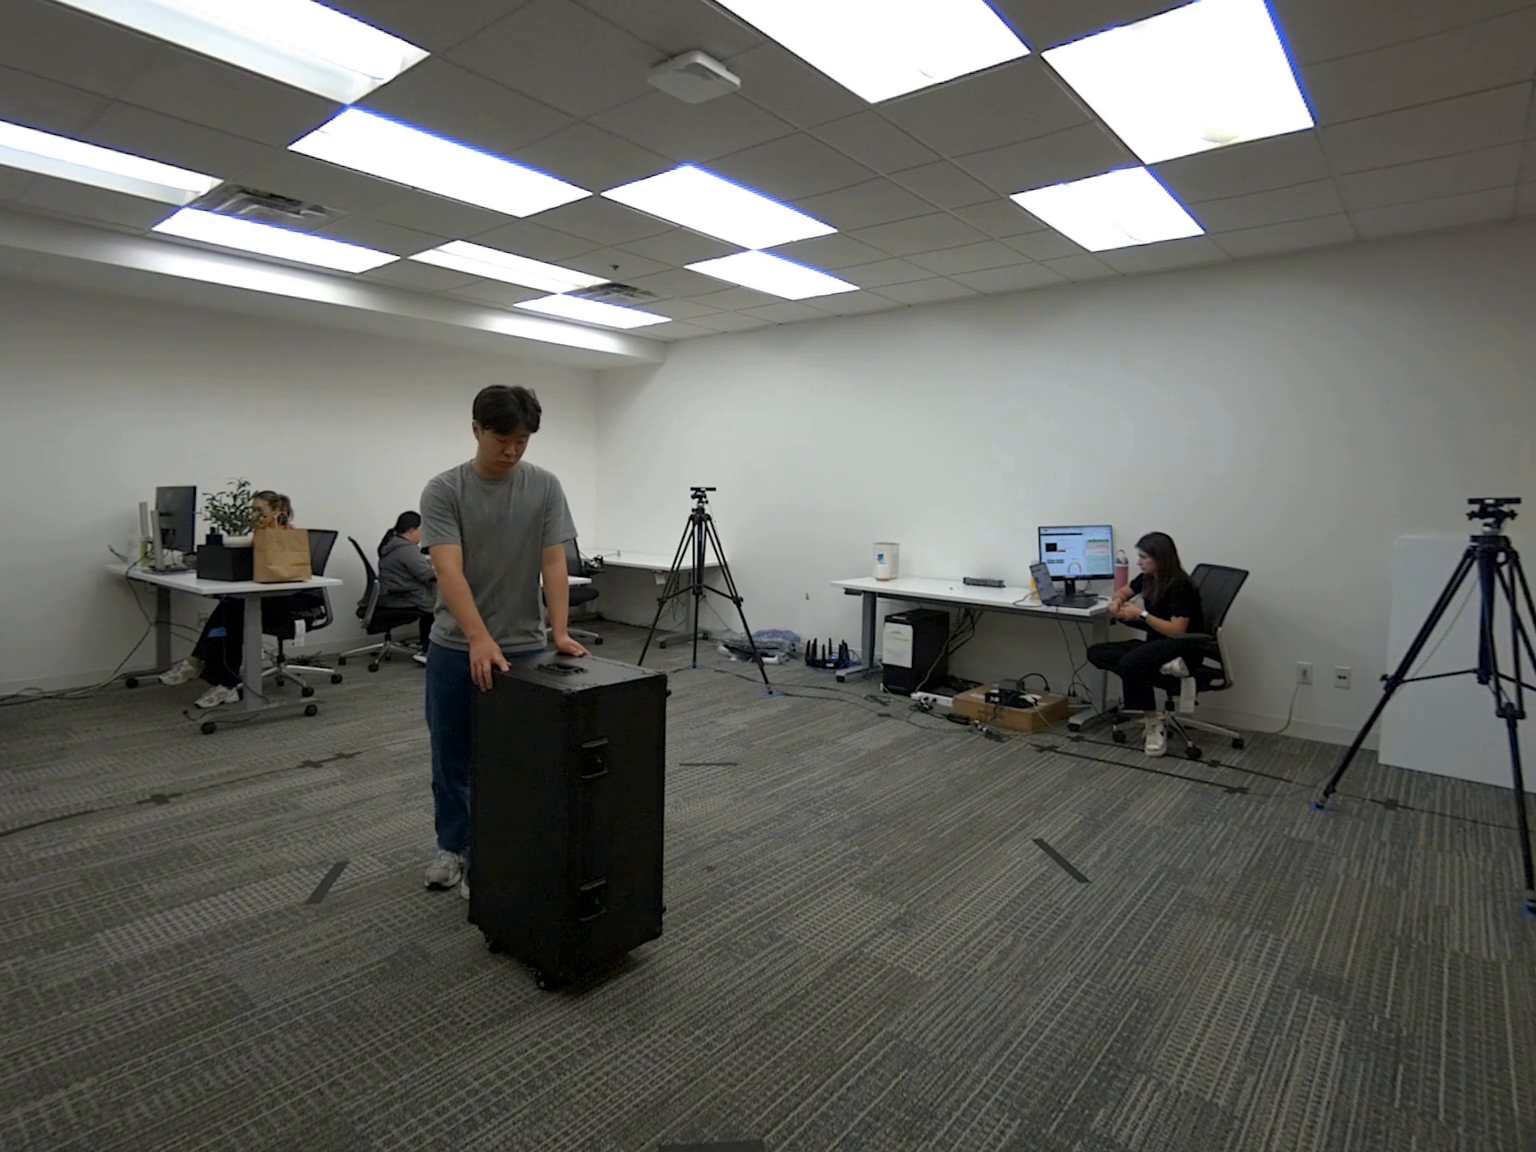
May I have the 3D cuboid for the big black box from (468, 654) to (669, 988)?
[{"bbox_3d":[-0.599,0.694,2.519,0.539,0.860,0.384,3,3,40],"label":"big black box"}]
